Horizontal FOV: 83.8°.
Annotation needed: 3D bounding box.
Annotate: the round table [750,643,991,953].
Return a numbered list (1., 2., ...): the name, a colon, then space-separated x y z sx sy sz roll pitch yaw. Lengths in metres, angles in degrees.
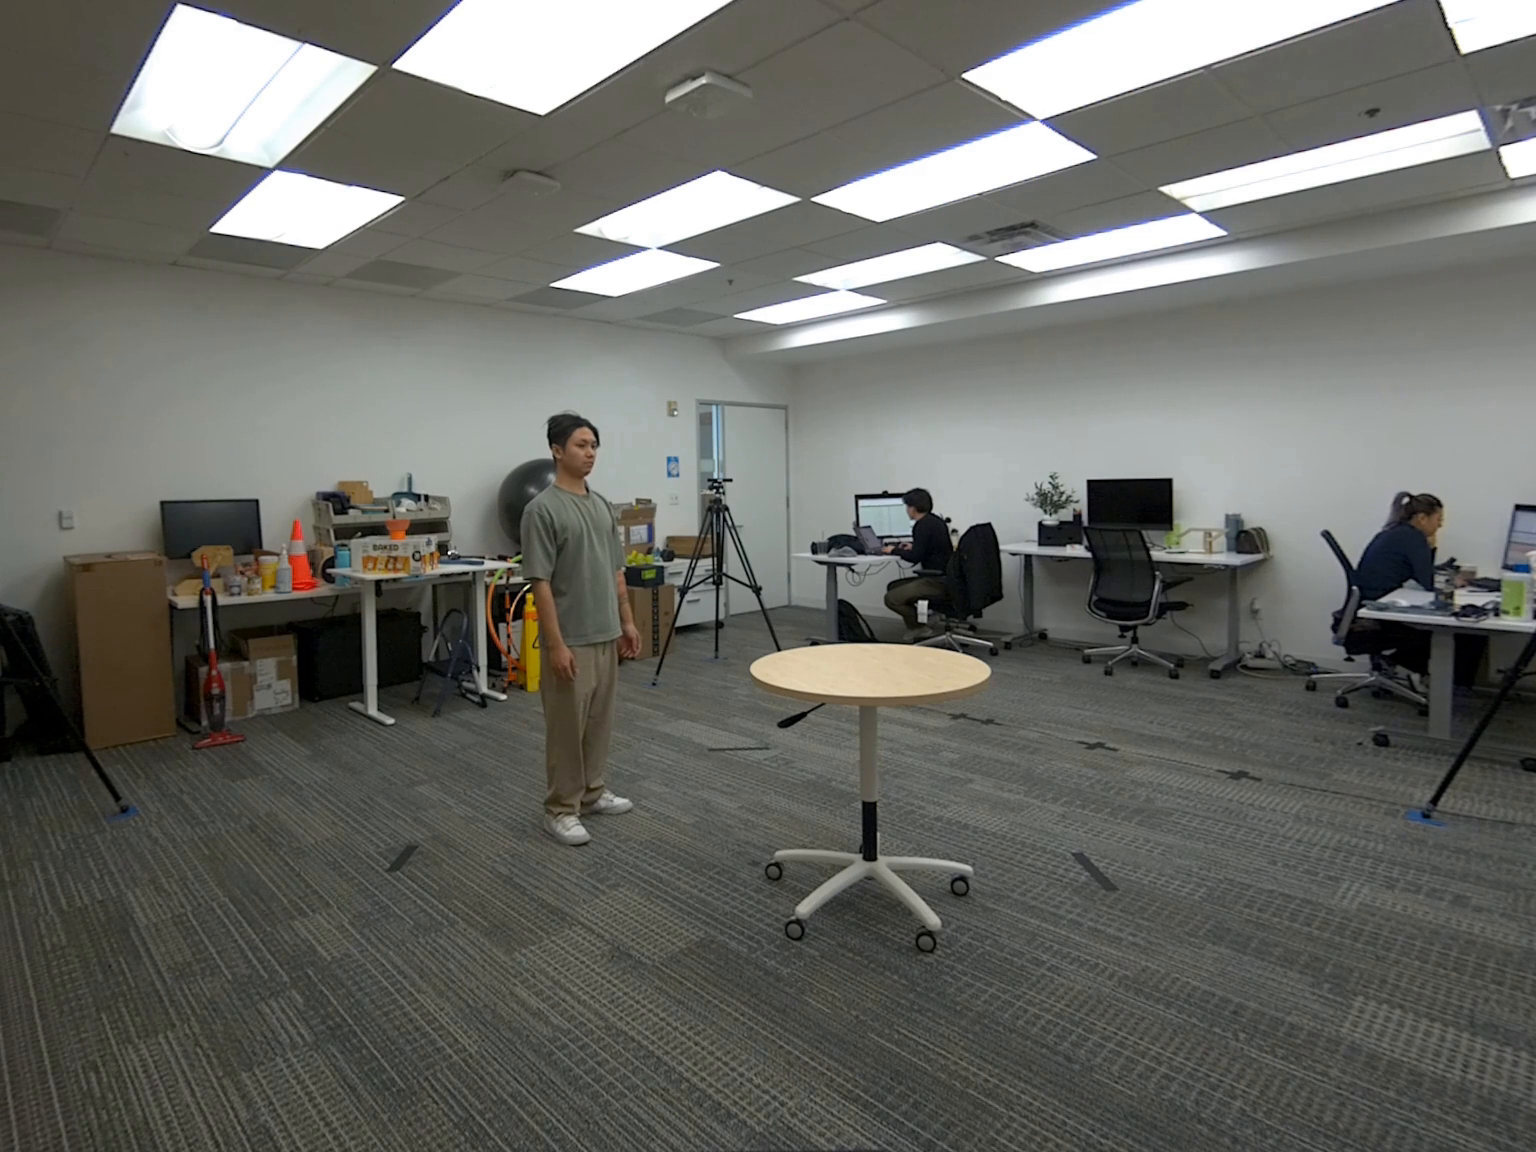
1. round table: 0.335 0.680 2.812 0.784 0.783 0.789 -1 5 -2
